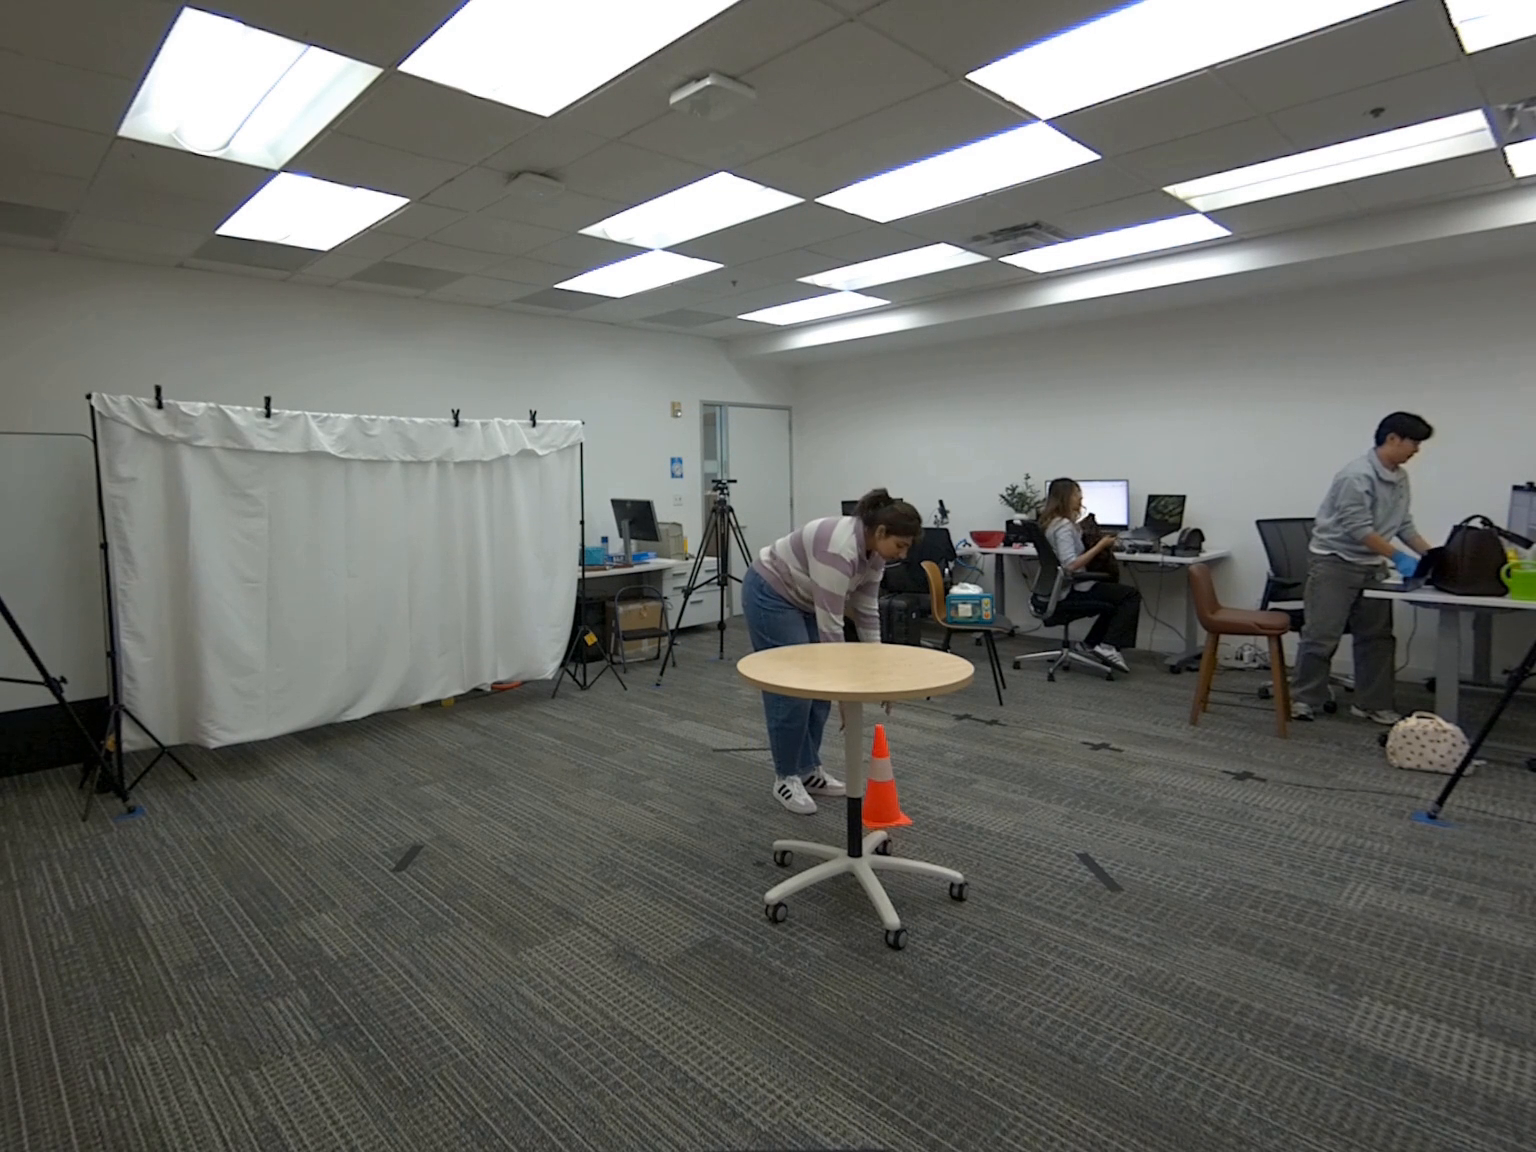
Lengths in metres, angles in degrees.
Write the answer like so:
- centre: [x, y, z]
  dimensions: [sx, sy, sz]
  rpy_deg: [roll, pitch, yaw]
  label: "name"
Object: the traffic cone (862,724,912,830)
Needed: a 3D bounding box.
- centre: [0.471, 0.810, 3.513]
  dimensions: [0.202, 0.382, 0.207]
  rpy_deg: [-1, 5, -16]
  label: "traffic cone"
